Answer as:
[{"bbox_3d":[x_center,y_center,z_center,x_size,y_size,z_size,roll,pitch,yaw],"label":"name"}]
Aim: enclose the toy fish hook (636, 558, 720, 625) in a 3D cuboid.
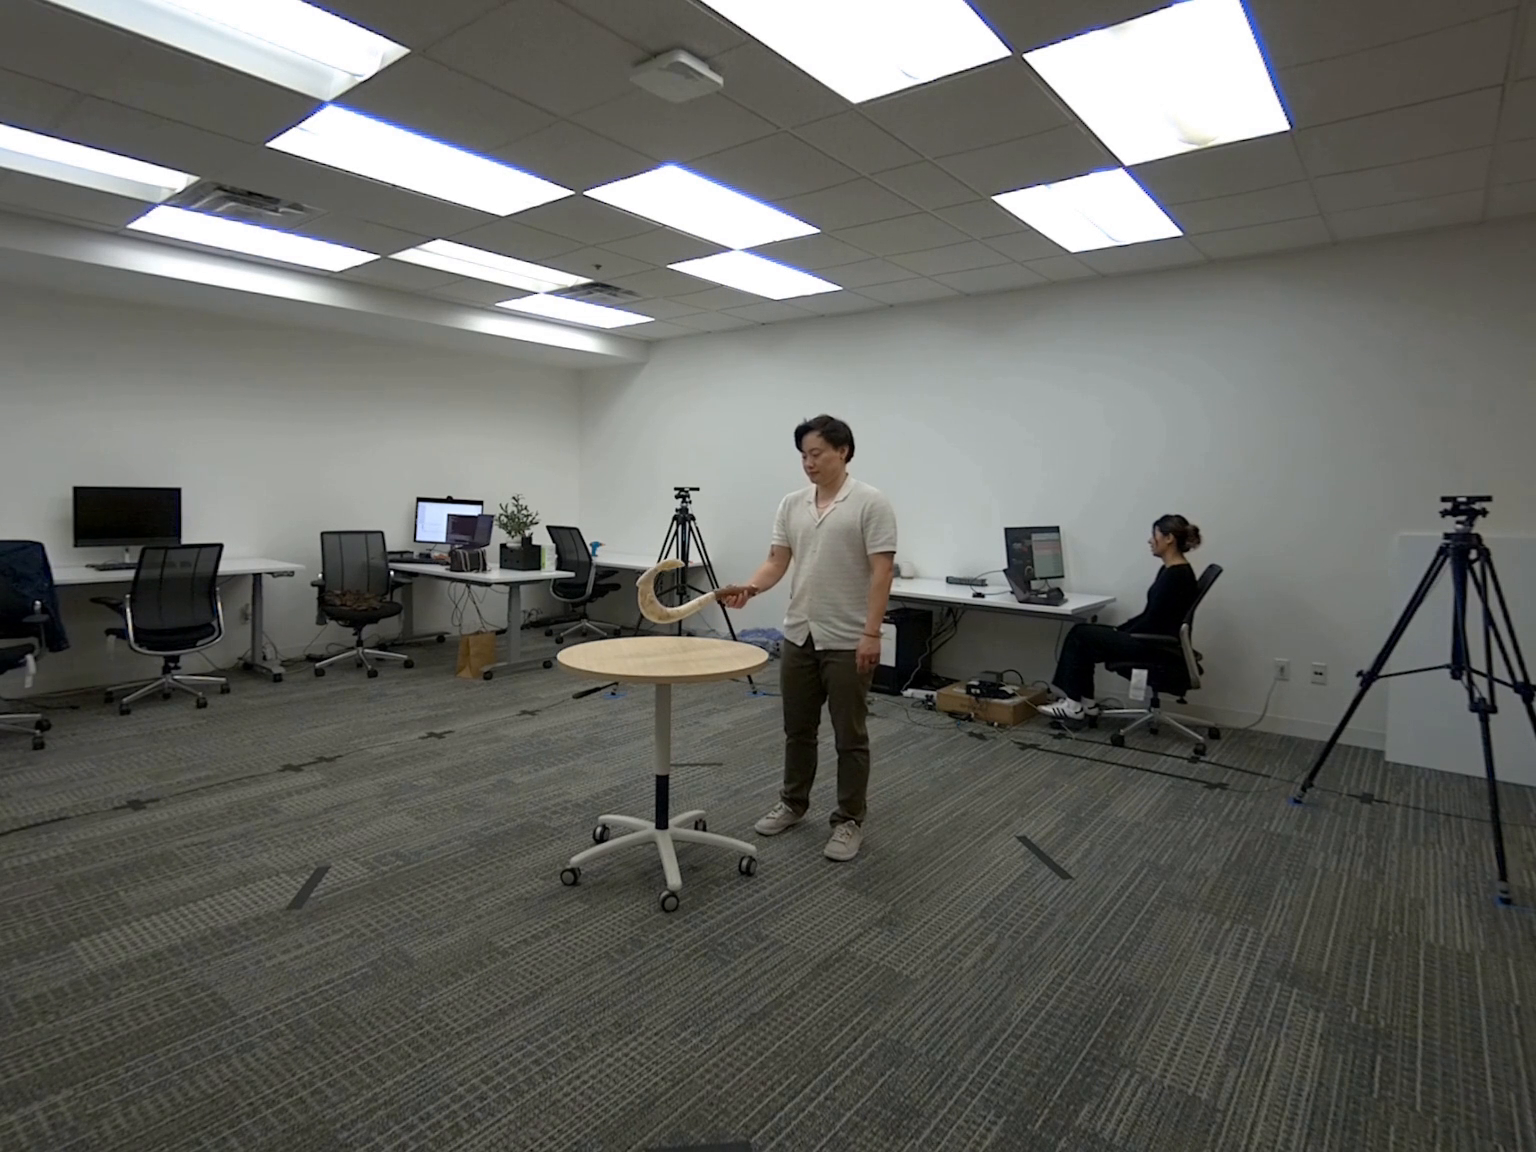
[{"bbox_3d":[-0.257,0.039,3.106,0.494,0.222,0.050,-9,11,-33],"label":"toy fish hook"}]
